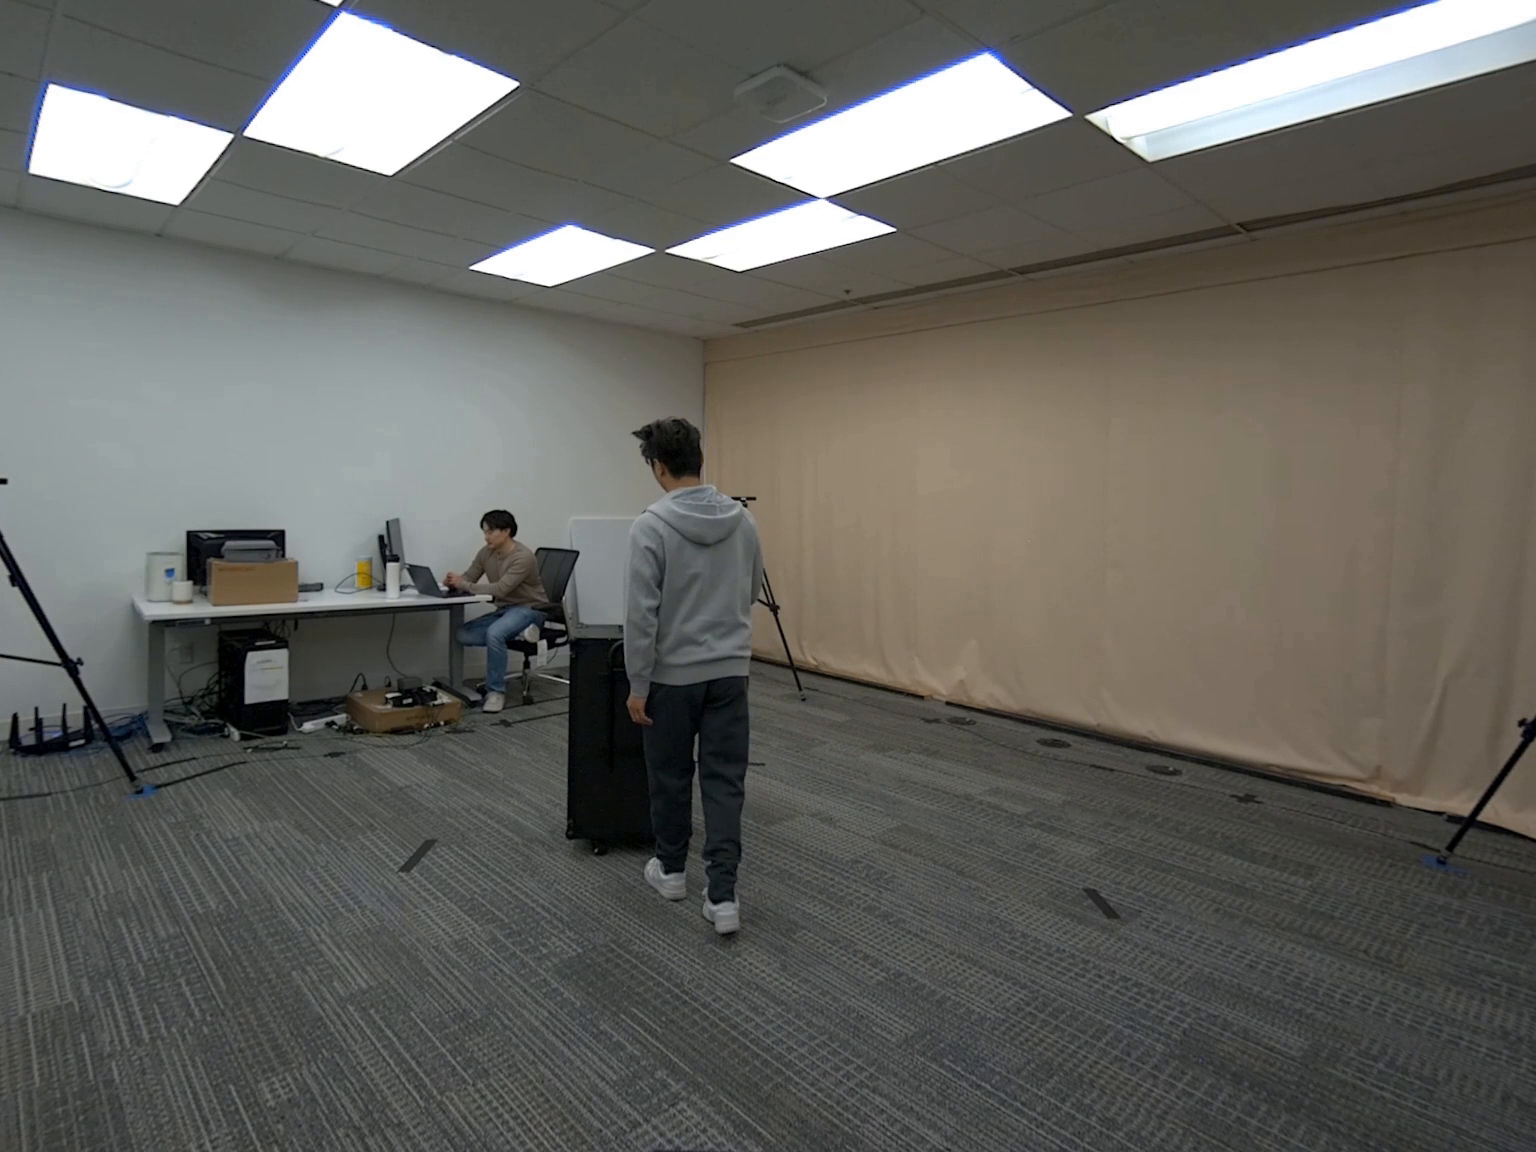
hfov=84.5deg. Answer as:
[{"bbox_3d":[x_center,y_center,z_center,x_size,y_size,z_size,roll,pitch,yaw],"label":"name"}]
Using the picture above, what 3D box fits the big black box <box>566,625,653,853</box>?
[{"bbox_3d":[-0.553,0.646,3.395,0.518,0.859,0.399,2,3,-7],"label":"big black box"}]
